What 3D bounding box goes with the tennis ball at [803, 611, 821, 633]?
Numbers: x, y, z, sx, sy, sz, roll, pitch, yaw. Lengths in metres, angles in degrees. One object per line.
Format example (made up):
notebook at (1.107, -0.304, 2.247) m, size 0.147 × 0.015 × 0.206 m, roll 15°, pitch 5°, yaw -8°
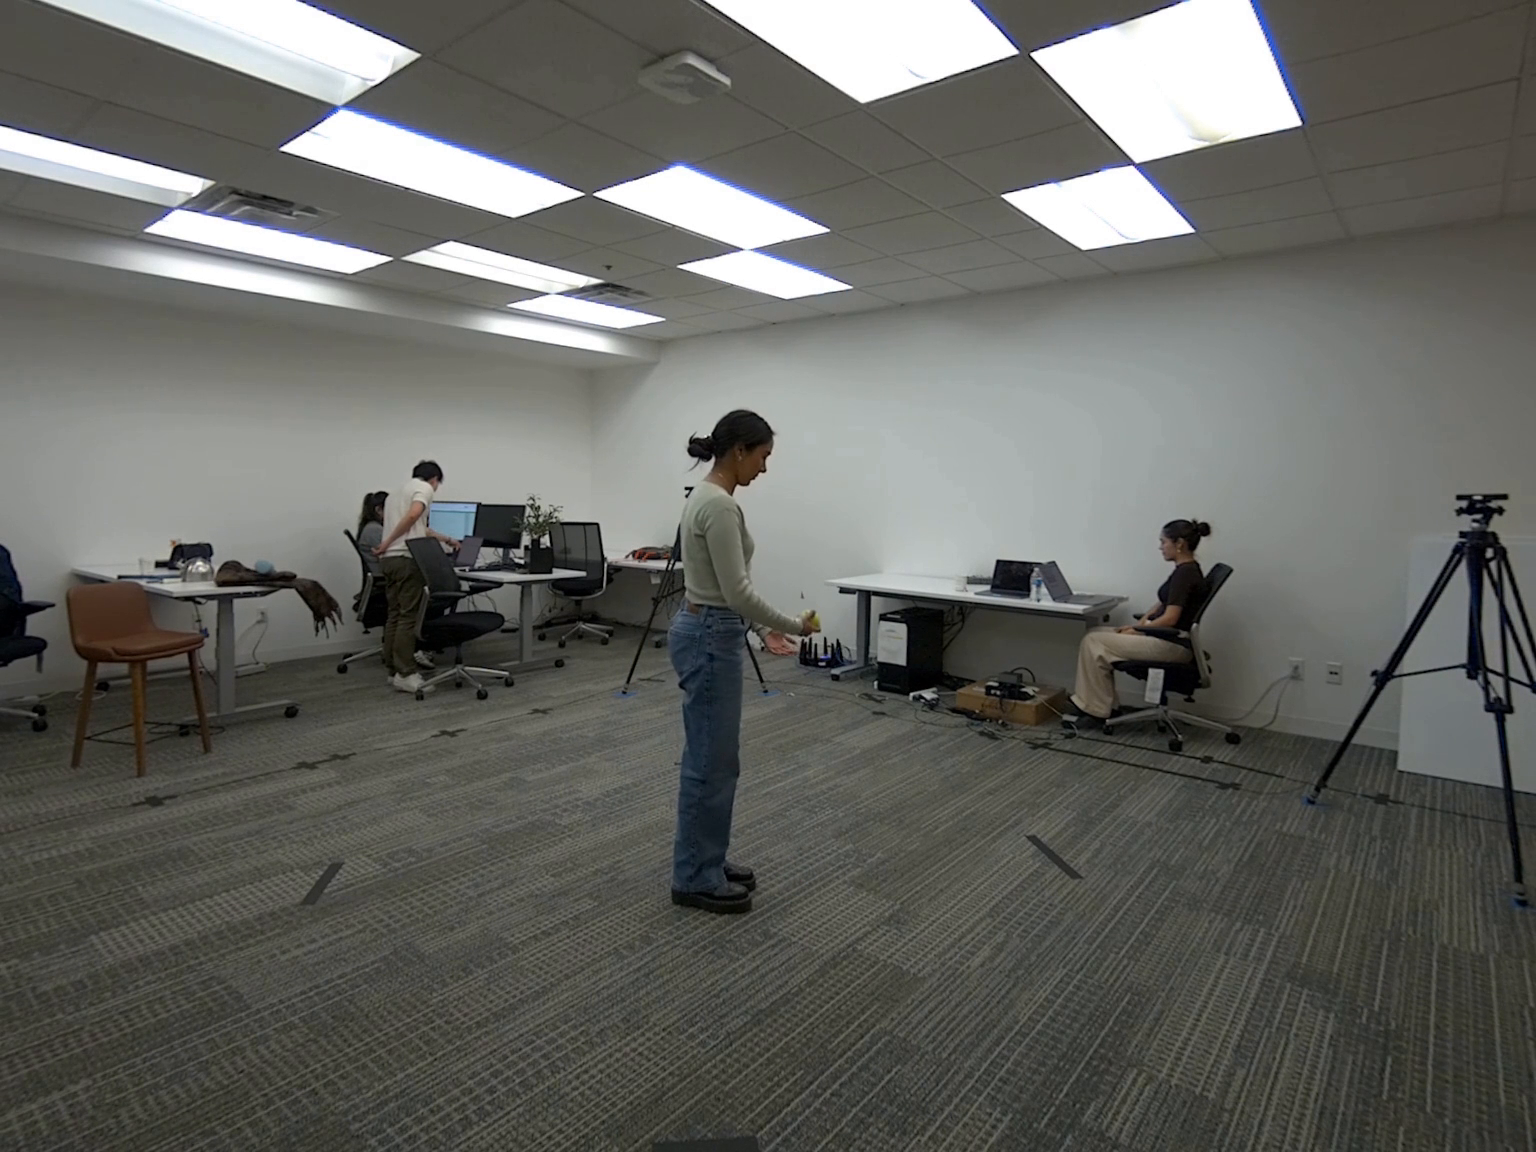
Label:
tennis ball at (0.116, 0.166, 2.838) m, size 0.066 × 0.066 × 0.067 m, roll 1°, pitch 4°, yaw -2°
